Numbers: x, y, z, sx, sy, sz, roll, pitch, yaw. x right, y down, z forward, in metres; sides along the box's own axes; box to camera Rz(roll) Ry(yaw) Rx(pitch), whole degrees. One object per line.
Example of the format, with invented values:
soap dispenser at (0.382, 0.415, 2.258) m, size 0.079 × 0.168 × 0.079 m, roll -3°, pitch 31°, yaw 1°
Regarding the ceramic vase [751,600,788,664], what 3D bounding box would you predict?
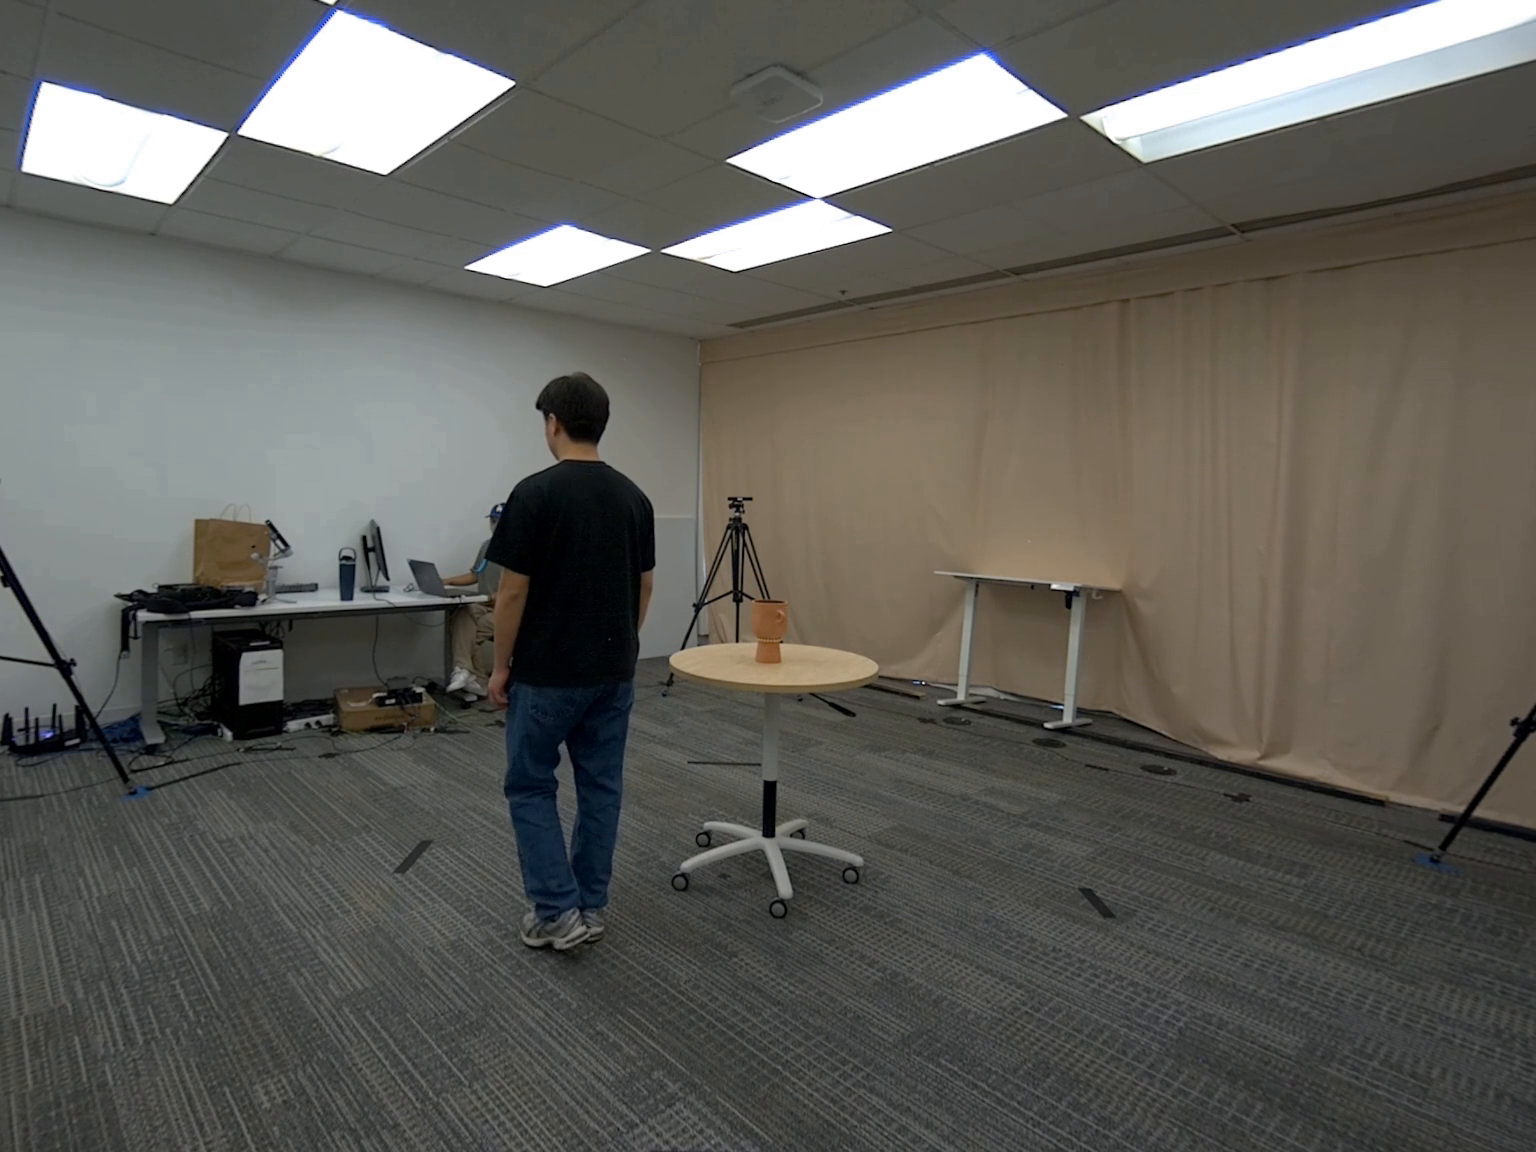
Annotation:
ceramic vase at (-0.004, 0.208, 3.098) m, size 0.136 × 0.219 × 0.158 m, roll 2°, pitch 3°, yaw 9°
